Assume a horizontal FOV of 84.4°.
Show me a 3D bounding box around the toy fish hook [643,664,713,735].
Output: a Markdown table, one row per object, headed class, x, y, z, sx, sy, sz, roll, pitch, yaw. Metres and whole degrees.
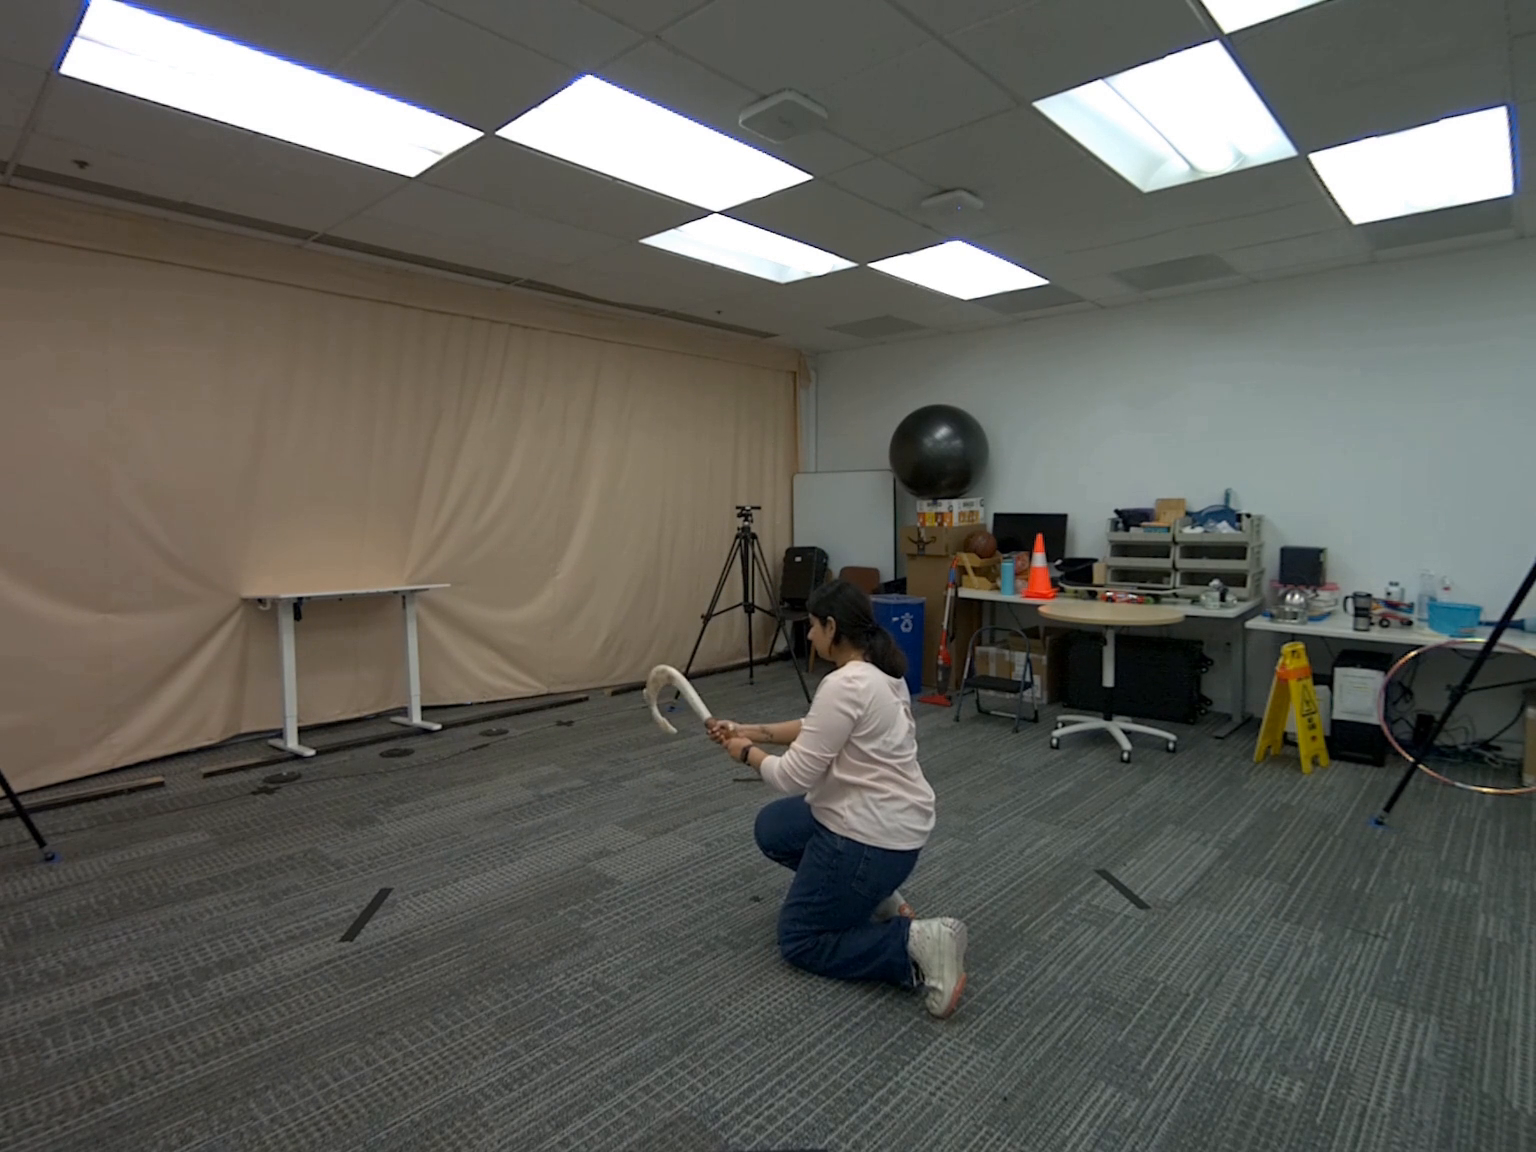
| class | x | y | z | sx | sy | sz | roll | pitch | yaw |
| --- | --- | --- | --- | --- | --- | --- | --- | --- | --- |
| toy fish hook | -0.239 | 0.494 | 2.873 | 0.047 | 0.223 | 0.524 | -7 | 34 | -47 |
